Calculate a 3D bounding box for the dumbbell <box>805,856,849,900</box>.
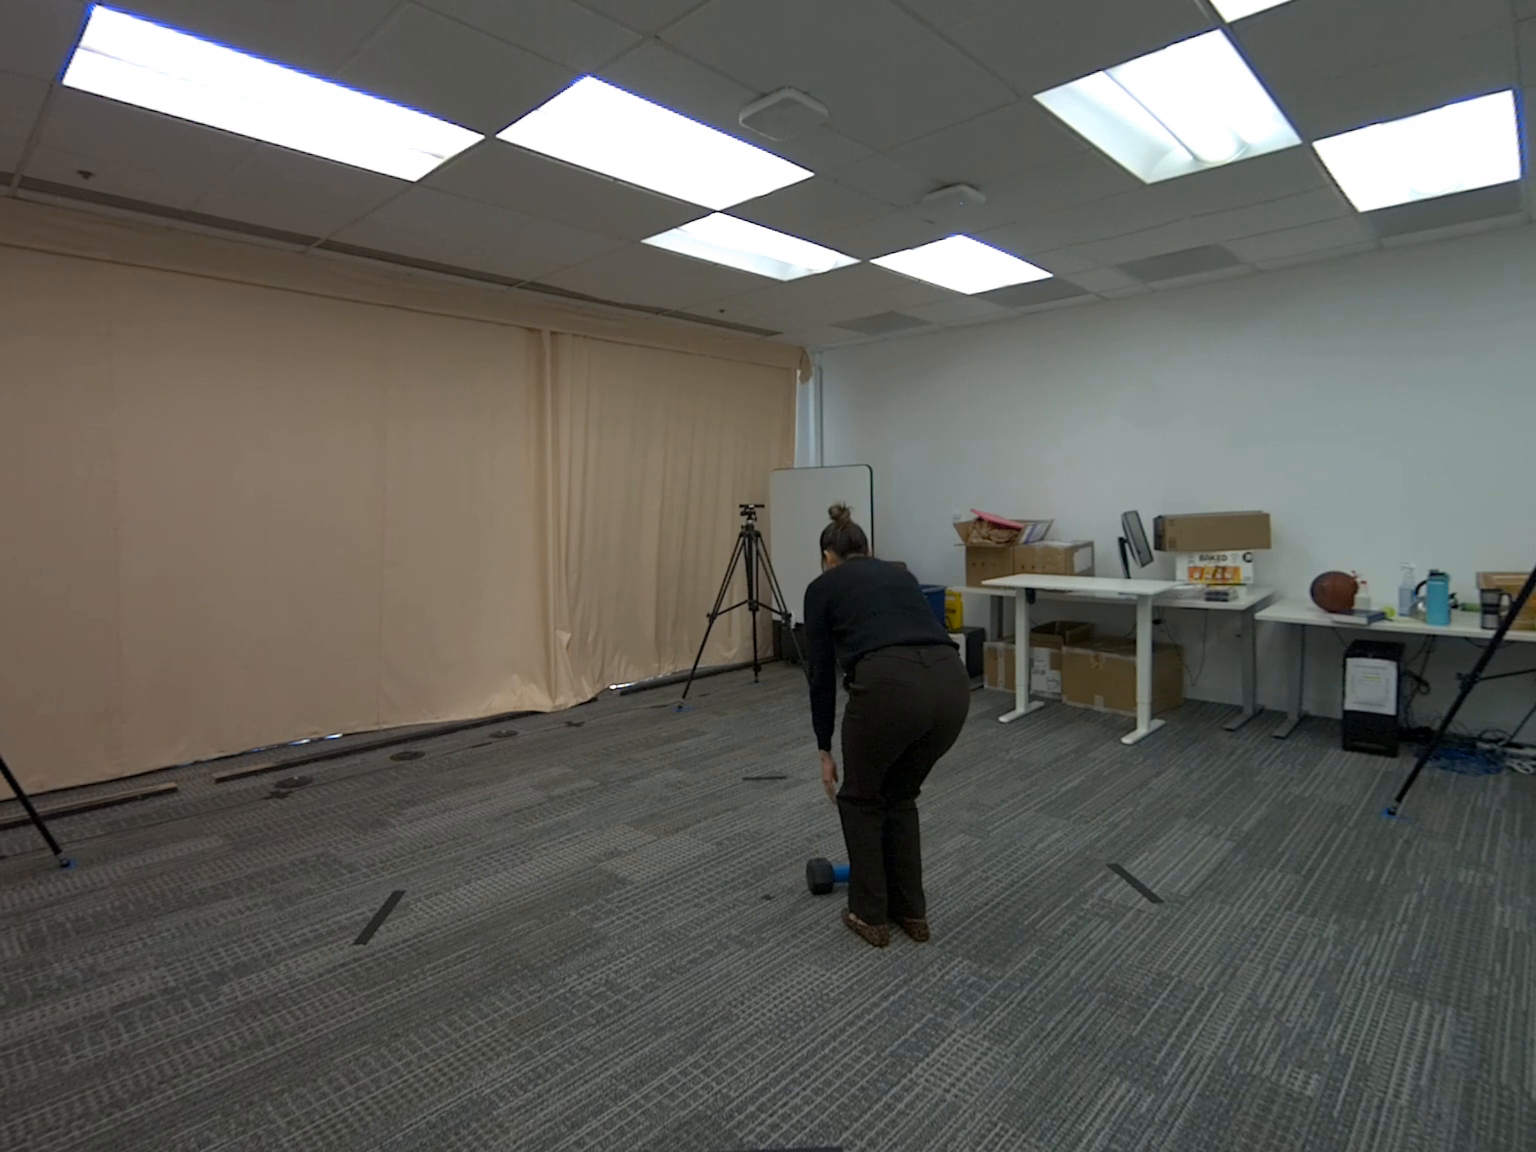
[{"bbox_3d":[0.296,1.074,3.038,0.290,0.125,0.108,-2,-26,-10],"label":"dumbbell"}]
